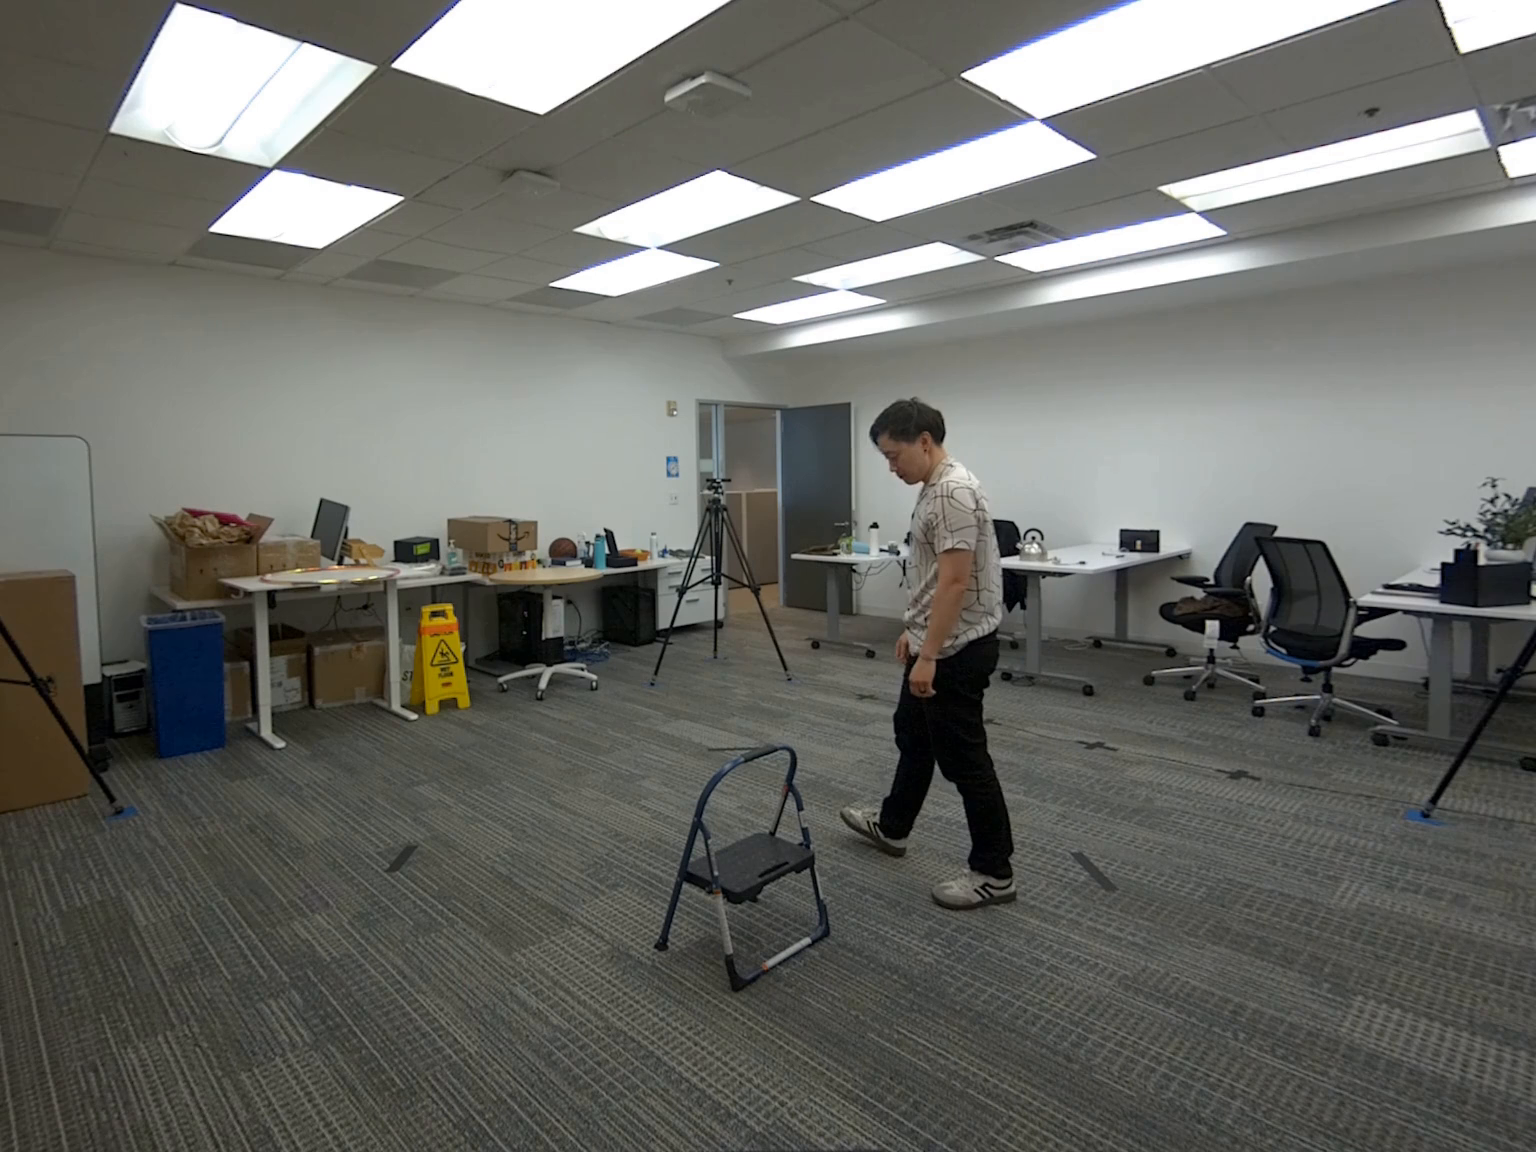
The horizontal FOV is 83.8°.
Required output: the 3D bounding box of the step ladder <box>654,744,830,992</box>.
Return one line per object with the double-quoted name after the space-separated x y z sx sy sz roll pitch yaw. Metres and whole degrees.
-0.075 0.804 2.568 0.360 0.604 0.419 3 6 43 "step ladder"
